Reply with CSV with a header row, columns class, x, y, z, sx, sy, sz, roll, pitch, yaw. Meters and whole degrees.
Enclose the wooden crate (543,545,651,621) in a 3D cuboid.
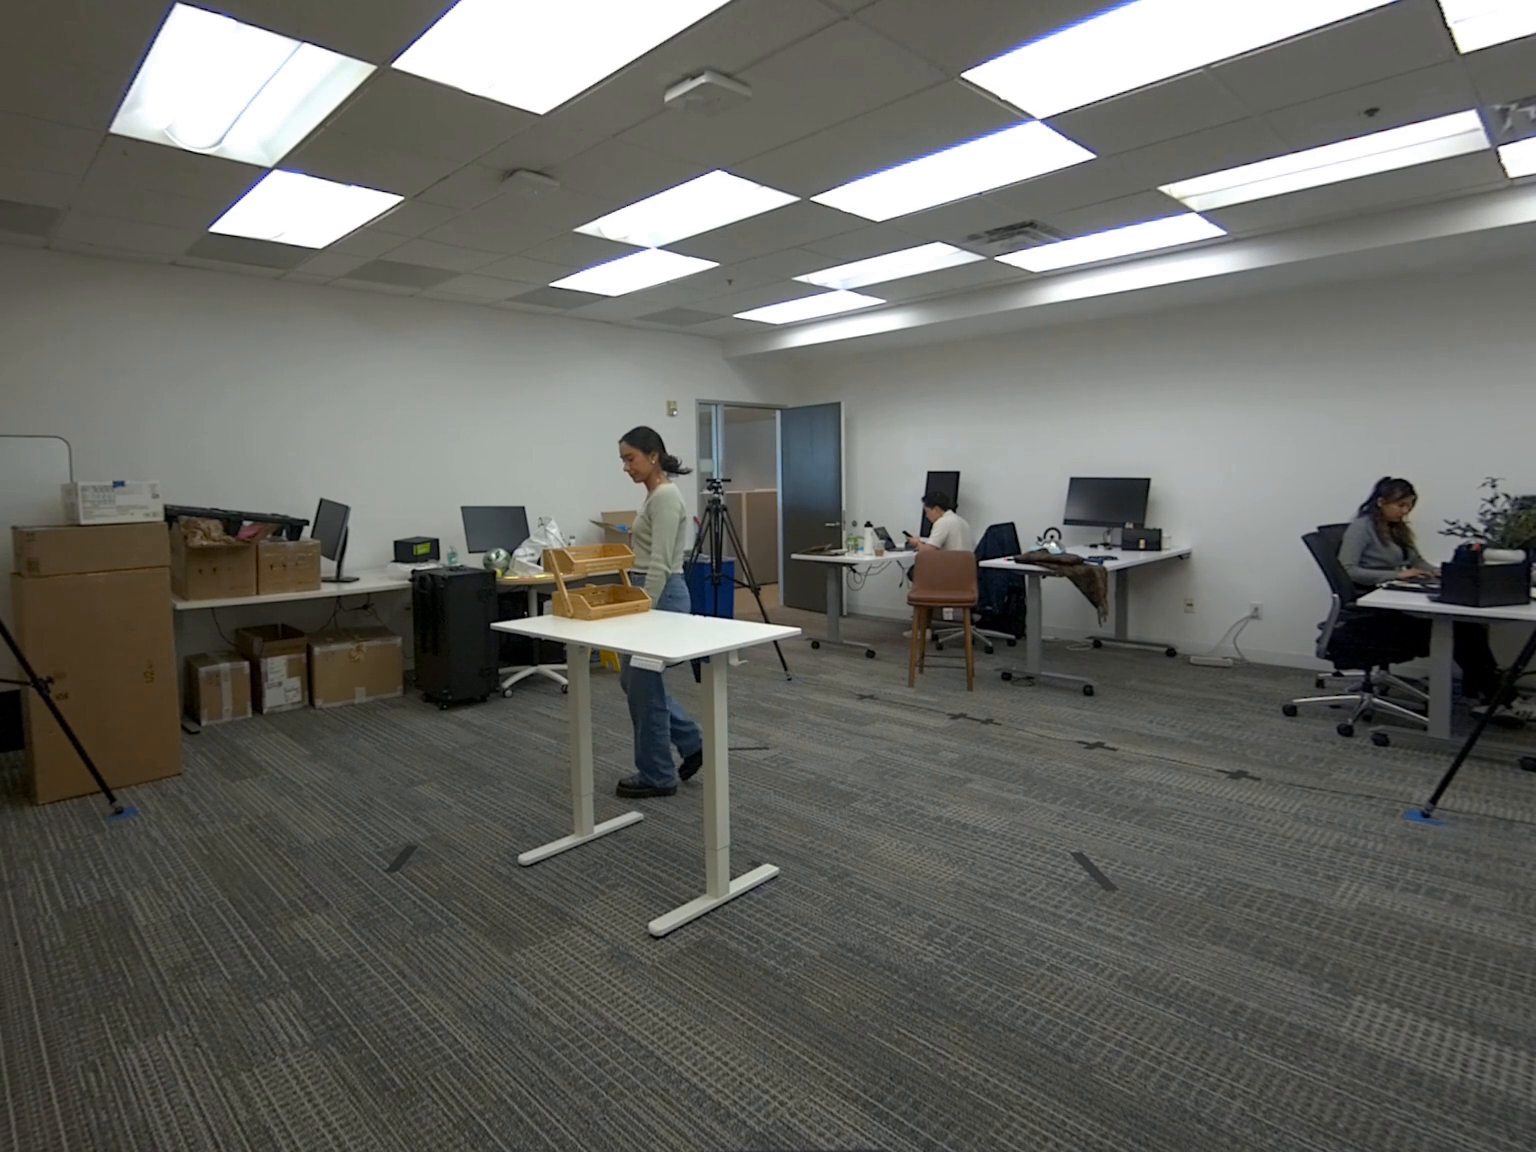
class,x,y,z,sx,sy,sz,roll,pitch,yaw
wooden crate,-0.671,0.014,3.364,0.311,0.272,0.316,2,6,43
